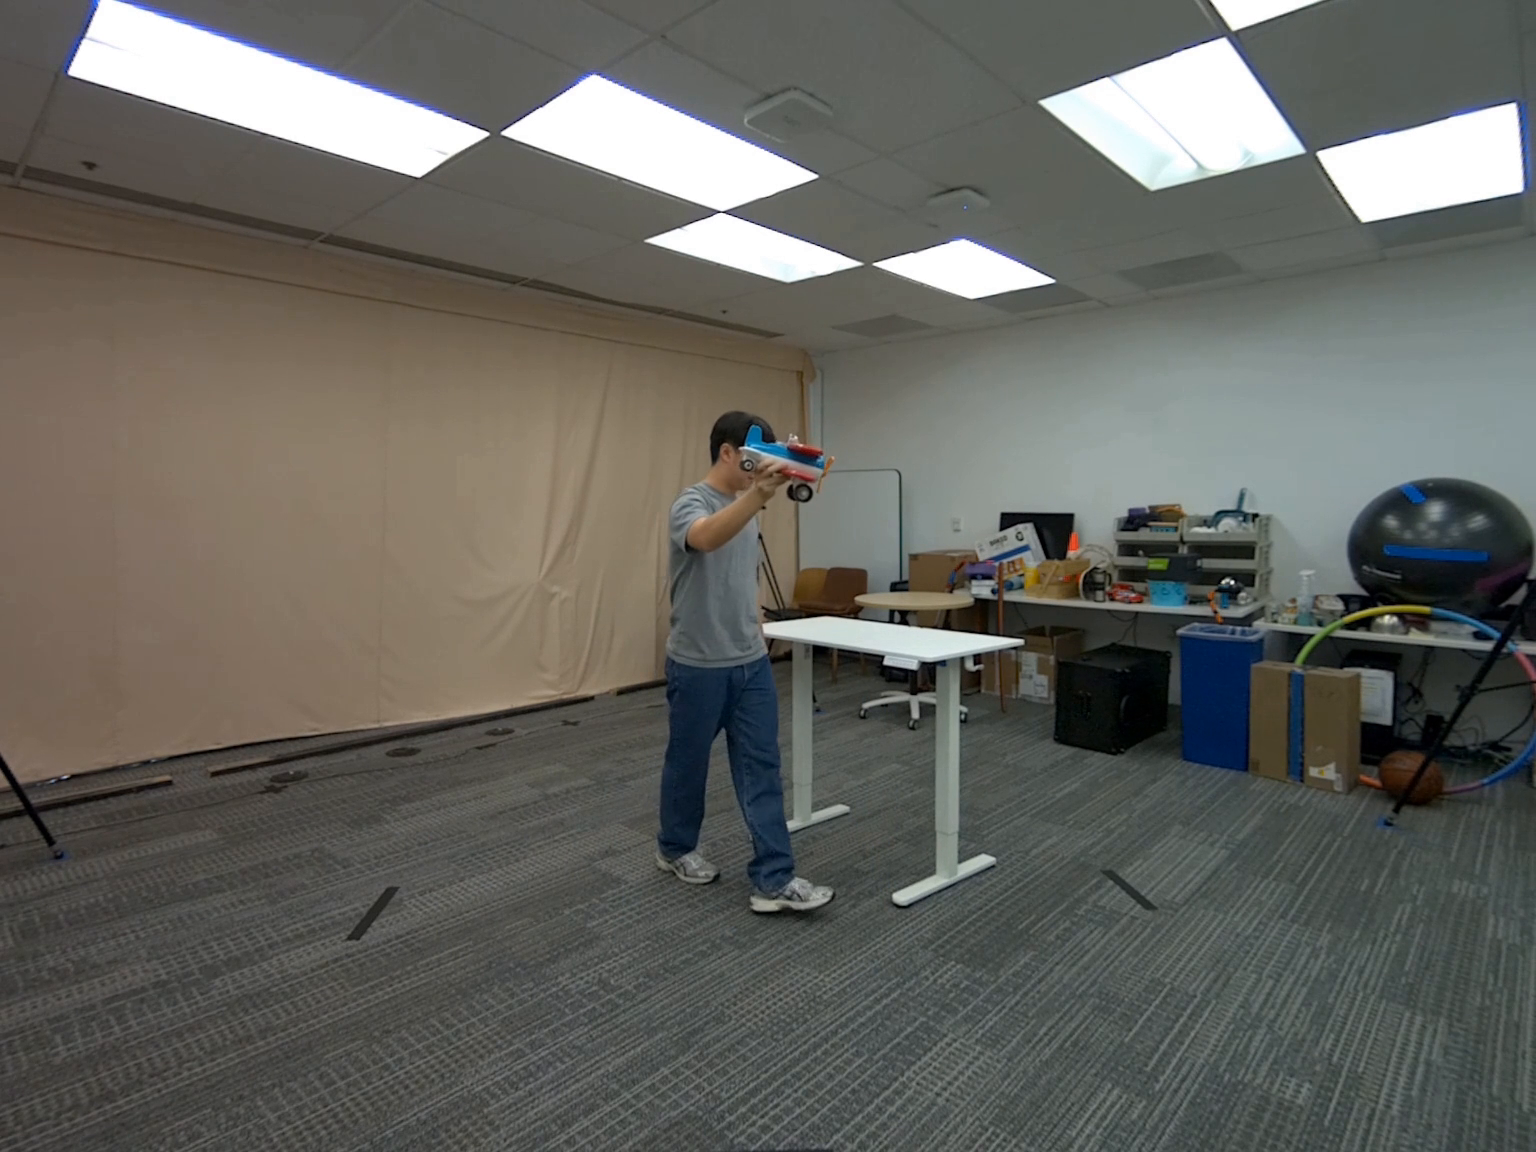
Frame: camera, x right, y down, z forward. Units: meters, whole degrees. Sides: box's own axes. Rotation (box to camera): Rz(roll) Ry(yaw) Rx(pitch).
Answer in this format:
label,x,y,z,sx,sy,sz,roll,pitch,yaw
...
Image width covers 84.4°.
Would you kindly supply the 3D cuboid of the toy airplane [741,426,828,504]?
label,x,y,z,sx,sy,sz,roll,pitch,yaw
toy airplane,0.060,-0.330,2.410,0.250,0.156,0.260,28,0,-41
